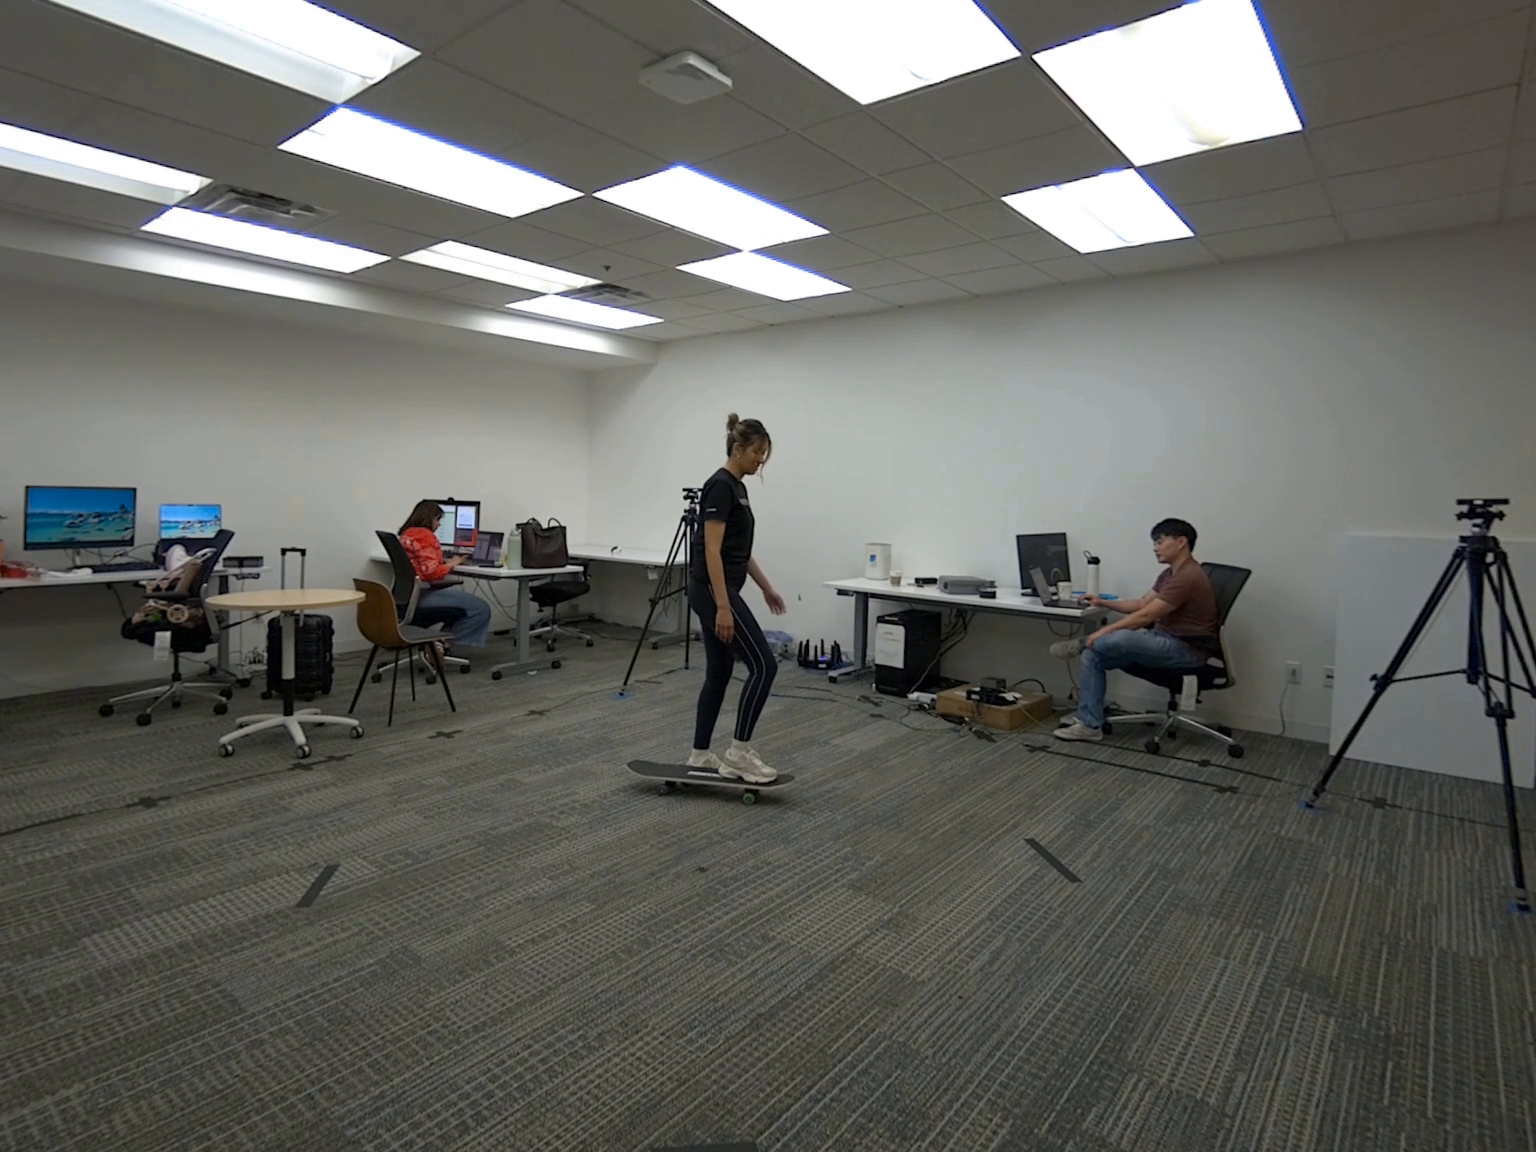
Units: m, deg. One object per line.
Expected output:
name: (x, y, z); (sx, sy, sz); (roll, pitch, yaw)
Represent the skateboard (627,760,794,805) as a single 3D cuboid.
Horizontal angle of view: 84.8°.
skateboard: (-0.279, 0.932, 3.885); (0.795, 0.110, 0.192); (3, 5, 11)
